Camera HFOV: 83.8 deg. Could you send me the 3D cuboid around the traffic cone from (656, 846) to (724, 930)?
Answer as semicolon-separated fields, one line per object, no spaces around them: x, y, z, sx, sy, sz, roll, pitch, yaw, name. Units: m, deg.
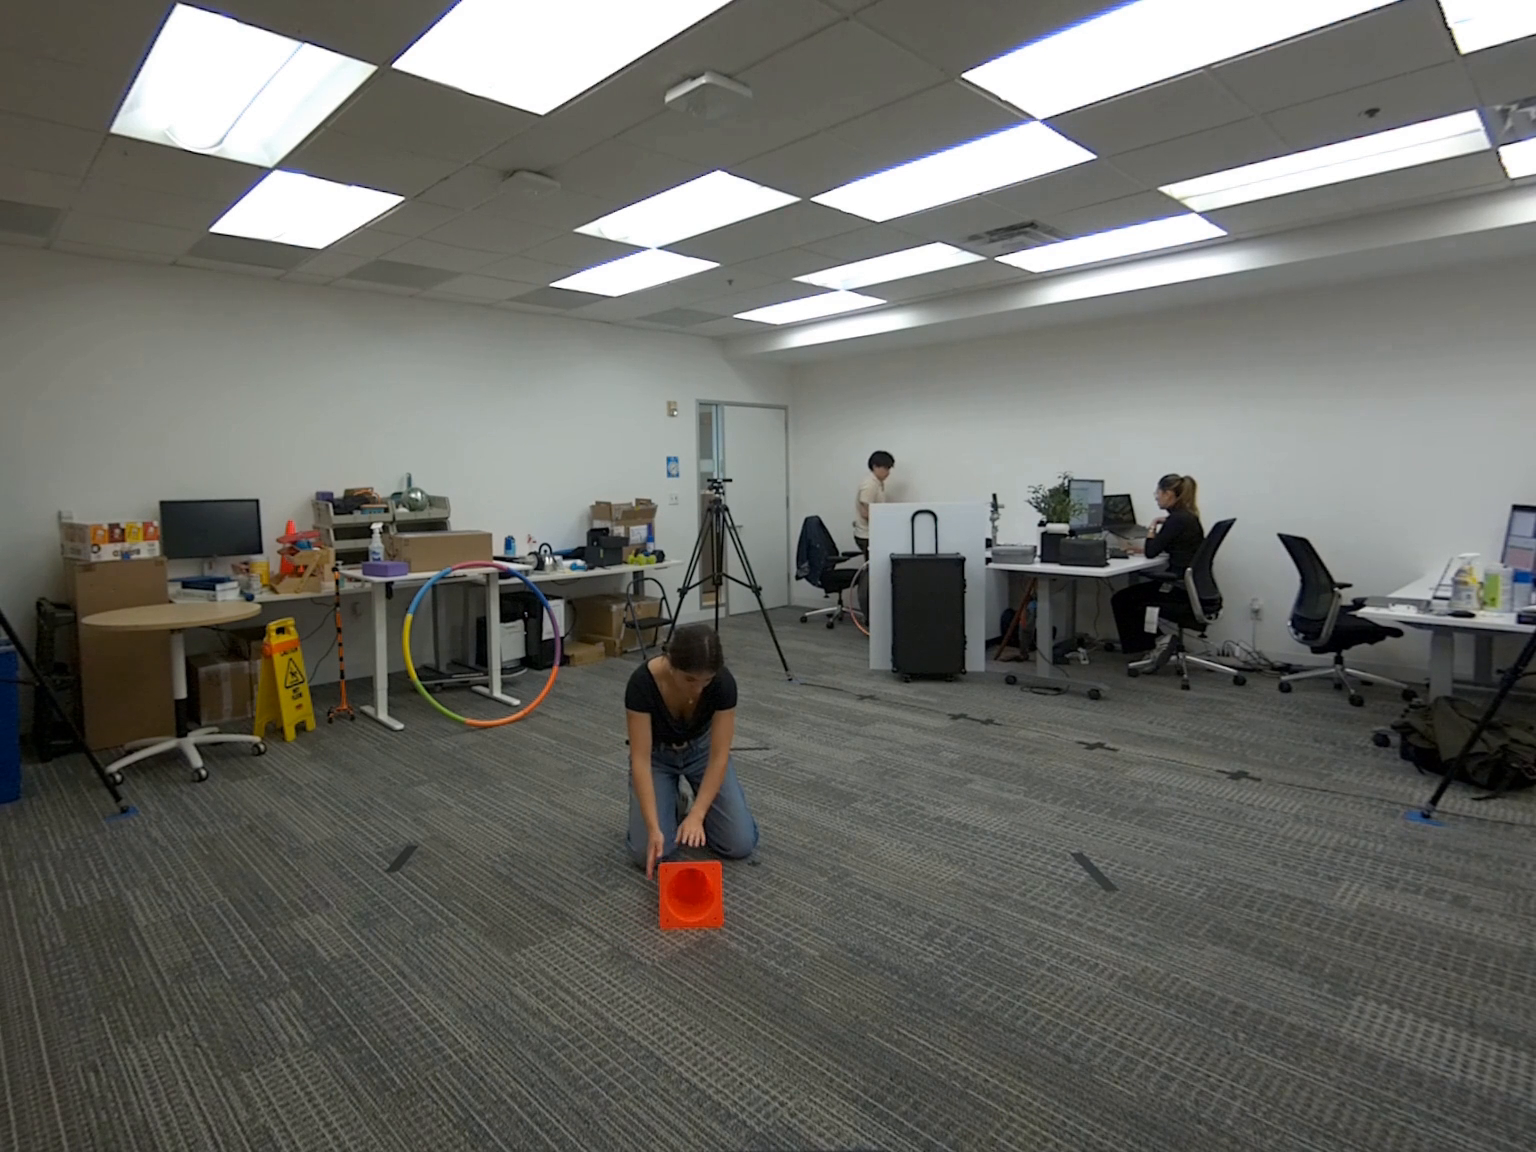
-0.262;1.035;2.873;0.203;0.206;0.381;2;-6;0;traffic cone
